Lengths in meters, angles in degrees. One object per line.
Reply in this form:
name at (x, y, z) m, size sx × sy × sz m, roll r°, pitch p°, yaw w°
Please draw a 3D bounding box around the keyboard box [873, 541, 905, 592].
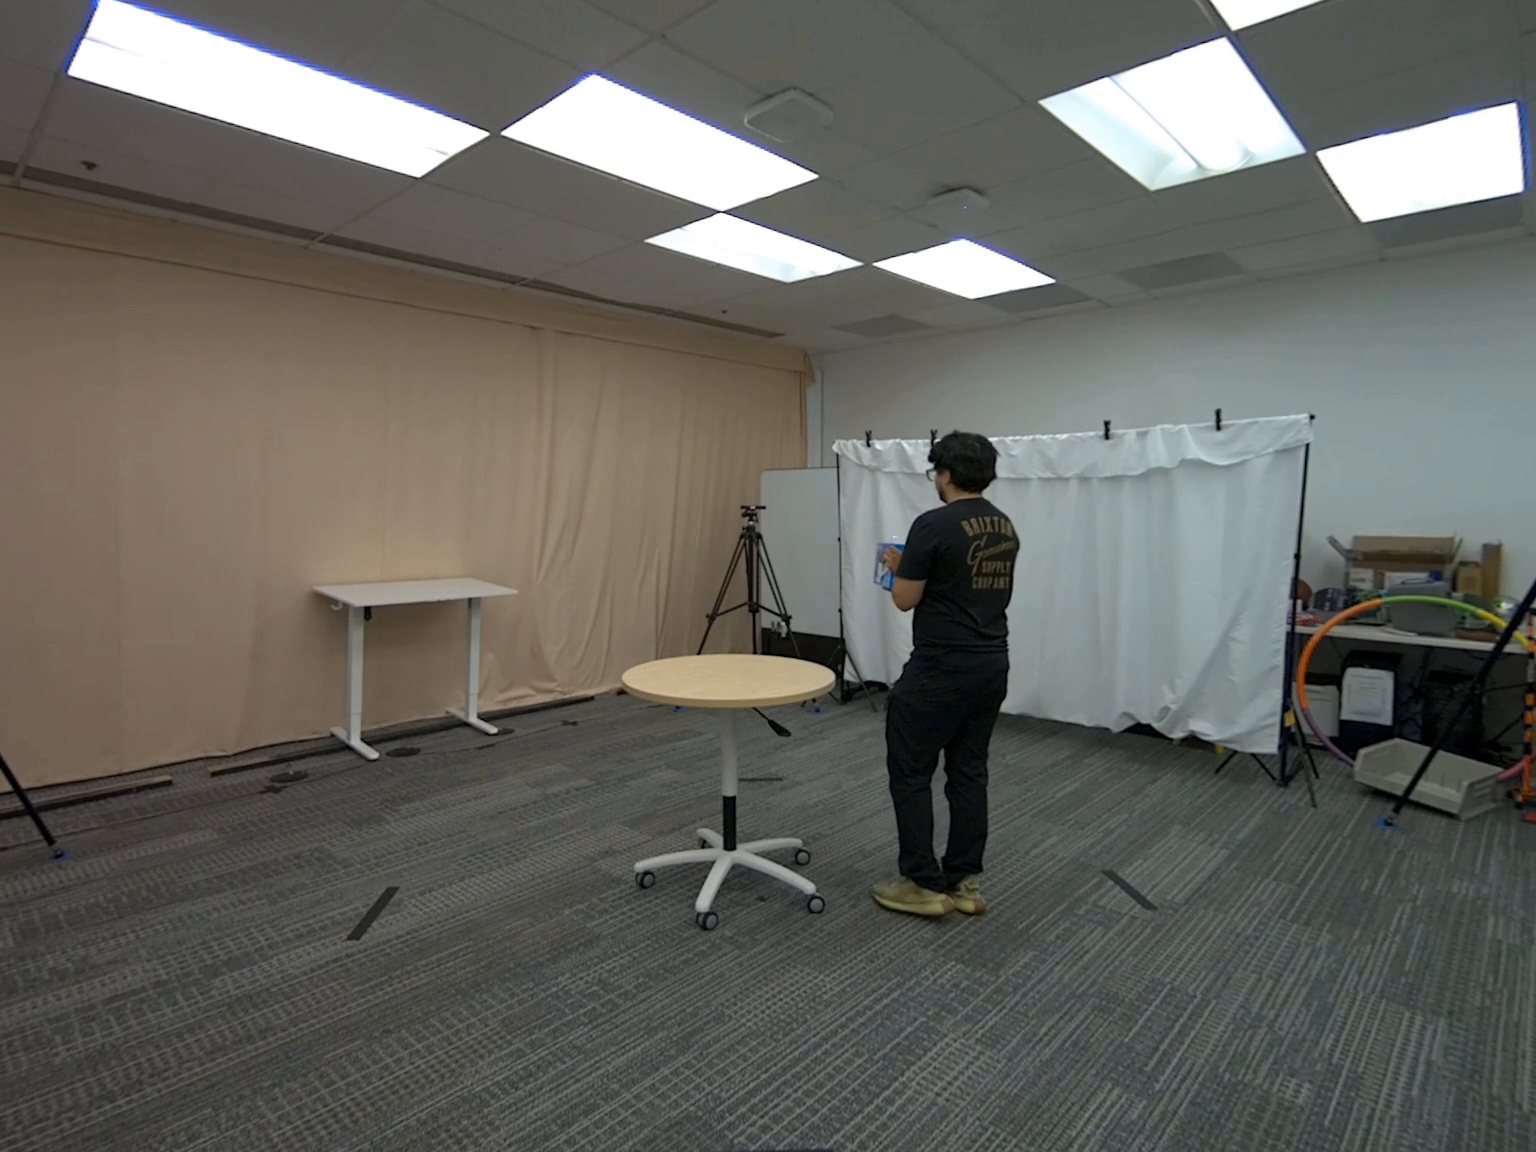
keyboard box at (0.495, -0.037, 3.368) m, size 0.059 × 0.176 × 0.437 m, roll 4°, pitch 3°, yaw -2°
